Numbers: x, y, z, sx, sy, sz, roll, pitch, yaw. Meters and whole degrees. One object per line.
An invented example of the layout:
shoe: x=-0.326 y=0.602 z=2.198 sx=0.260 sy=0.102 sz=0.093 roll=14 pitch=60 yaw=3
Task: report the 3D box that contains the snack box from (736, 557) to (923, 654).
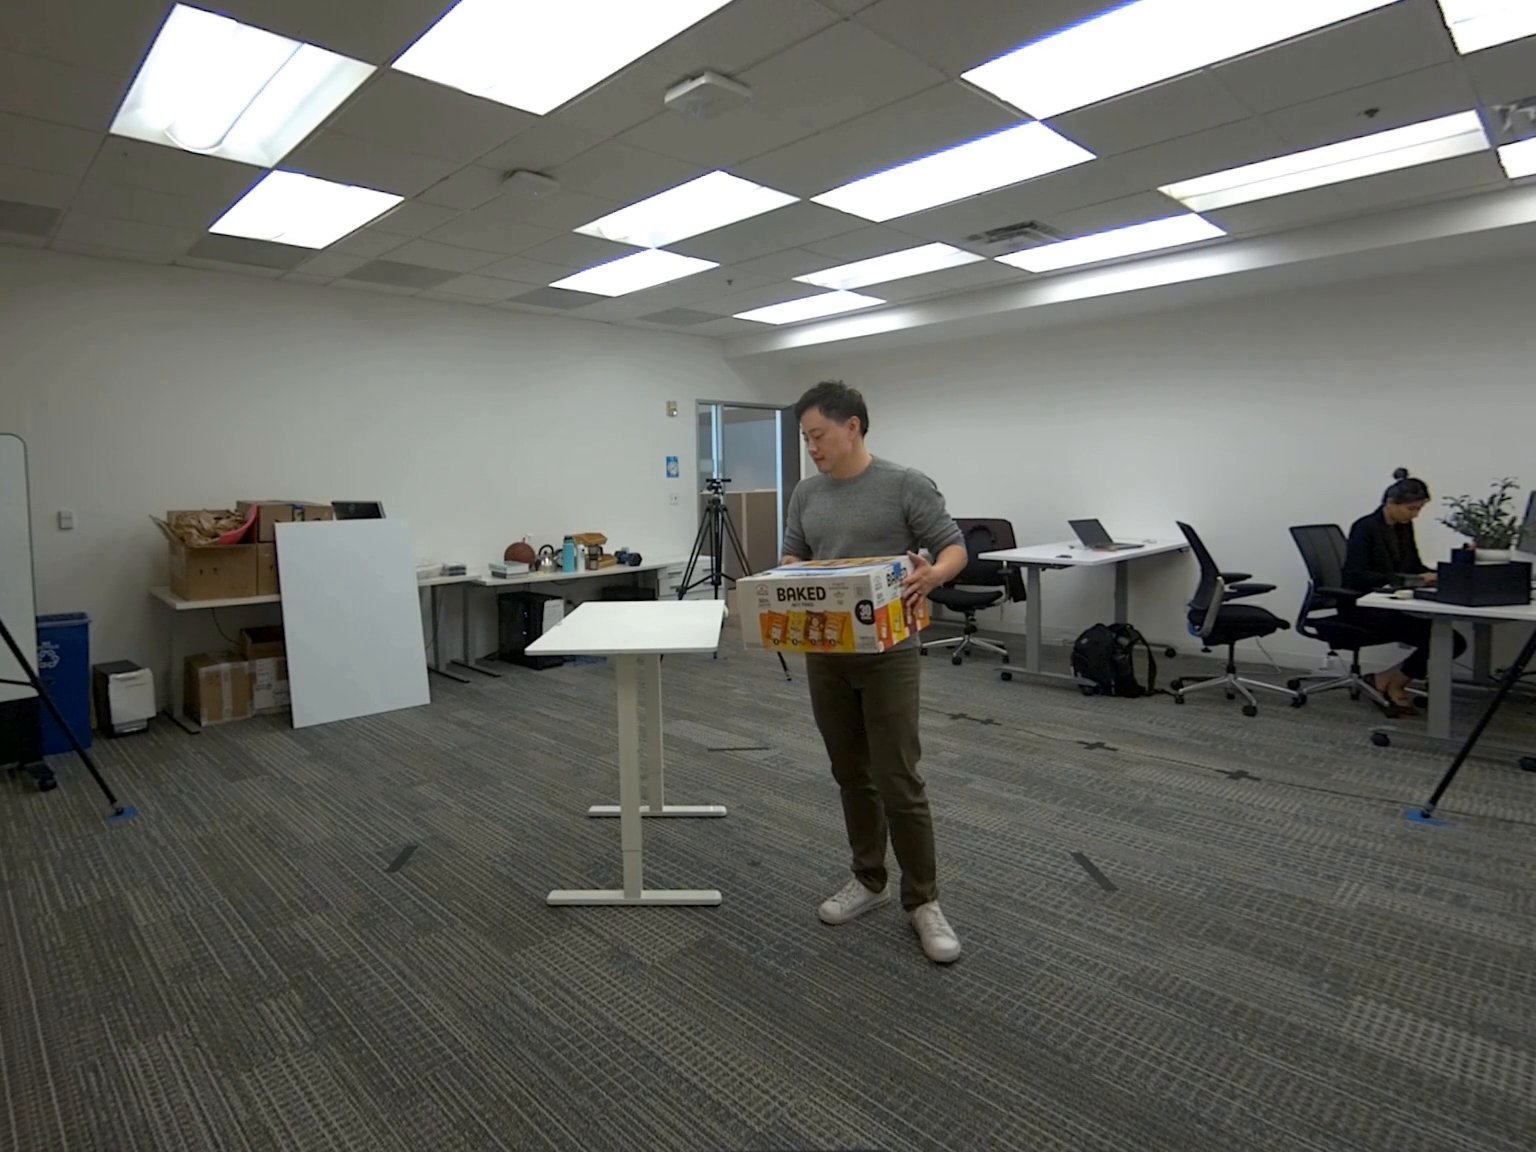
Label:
snack box: x=0.175 y=0.077 z=2.372 sx=0.416 sy=0.205 sz=0.333 roll=-3 pitch=7 yaw=35
